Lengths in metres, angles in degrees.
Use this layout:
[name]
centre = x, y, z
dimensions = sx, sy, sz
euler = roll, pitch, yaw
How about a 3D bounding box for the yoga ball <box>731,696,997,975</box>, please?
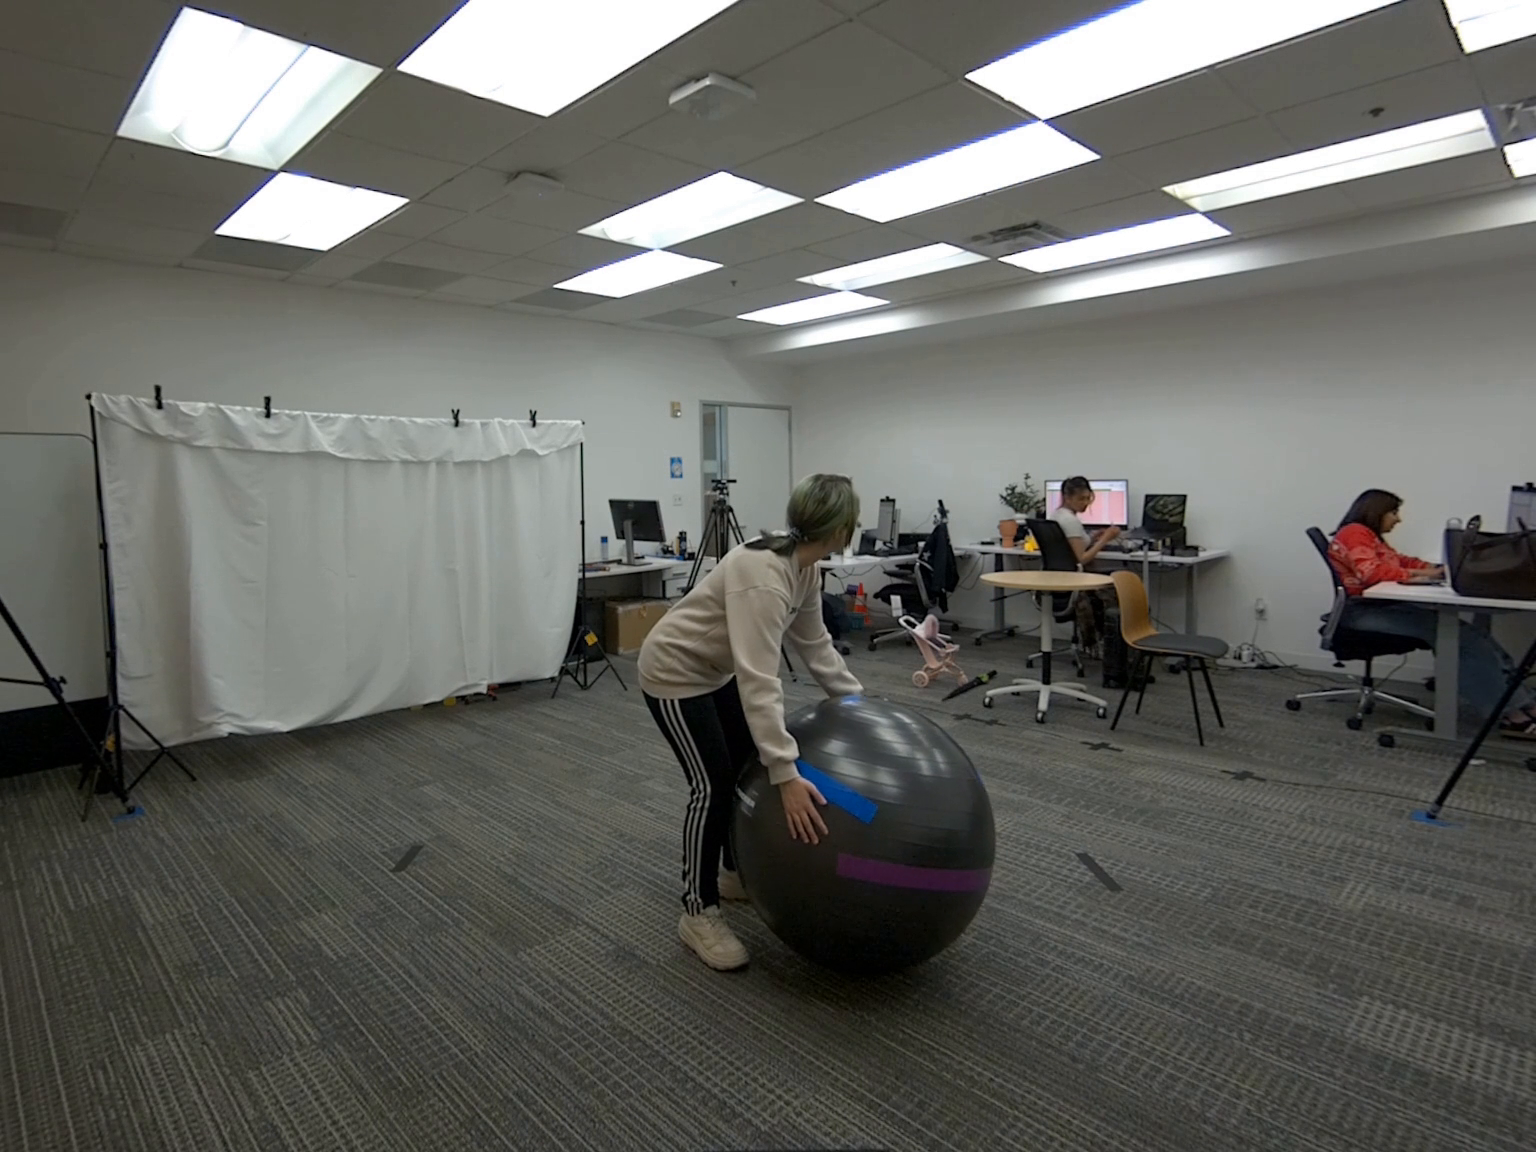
[yoga ball]
centre = 0.276, 0.733, 2.480
dimensions = 0.757, 0.755, 0.762
euler = -1, 5, -2
